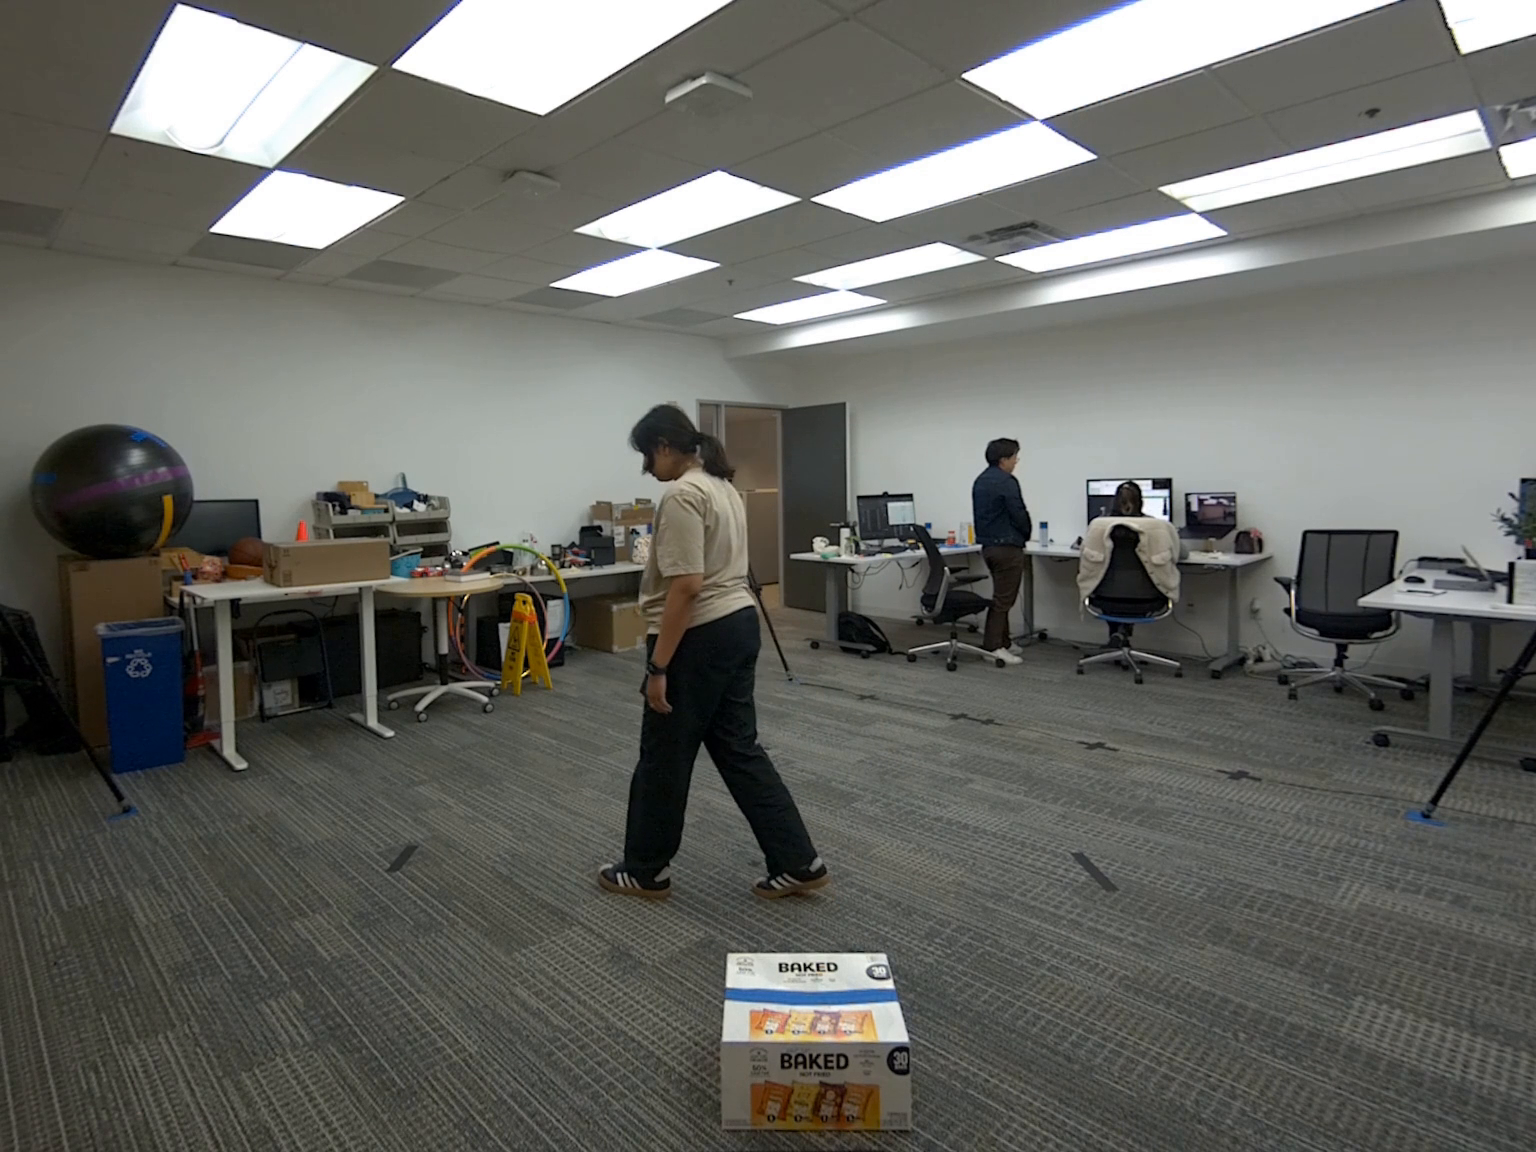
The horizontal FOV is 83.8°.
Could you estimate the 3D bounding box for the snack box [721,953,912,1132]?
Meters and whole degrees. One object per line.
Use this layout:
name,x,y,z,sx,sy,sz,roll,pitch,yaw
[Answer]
snack box,0.106,1.079,1.988,0.406,0.205,0.341,-1,6,1
